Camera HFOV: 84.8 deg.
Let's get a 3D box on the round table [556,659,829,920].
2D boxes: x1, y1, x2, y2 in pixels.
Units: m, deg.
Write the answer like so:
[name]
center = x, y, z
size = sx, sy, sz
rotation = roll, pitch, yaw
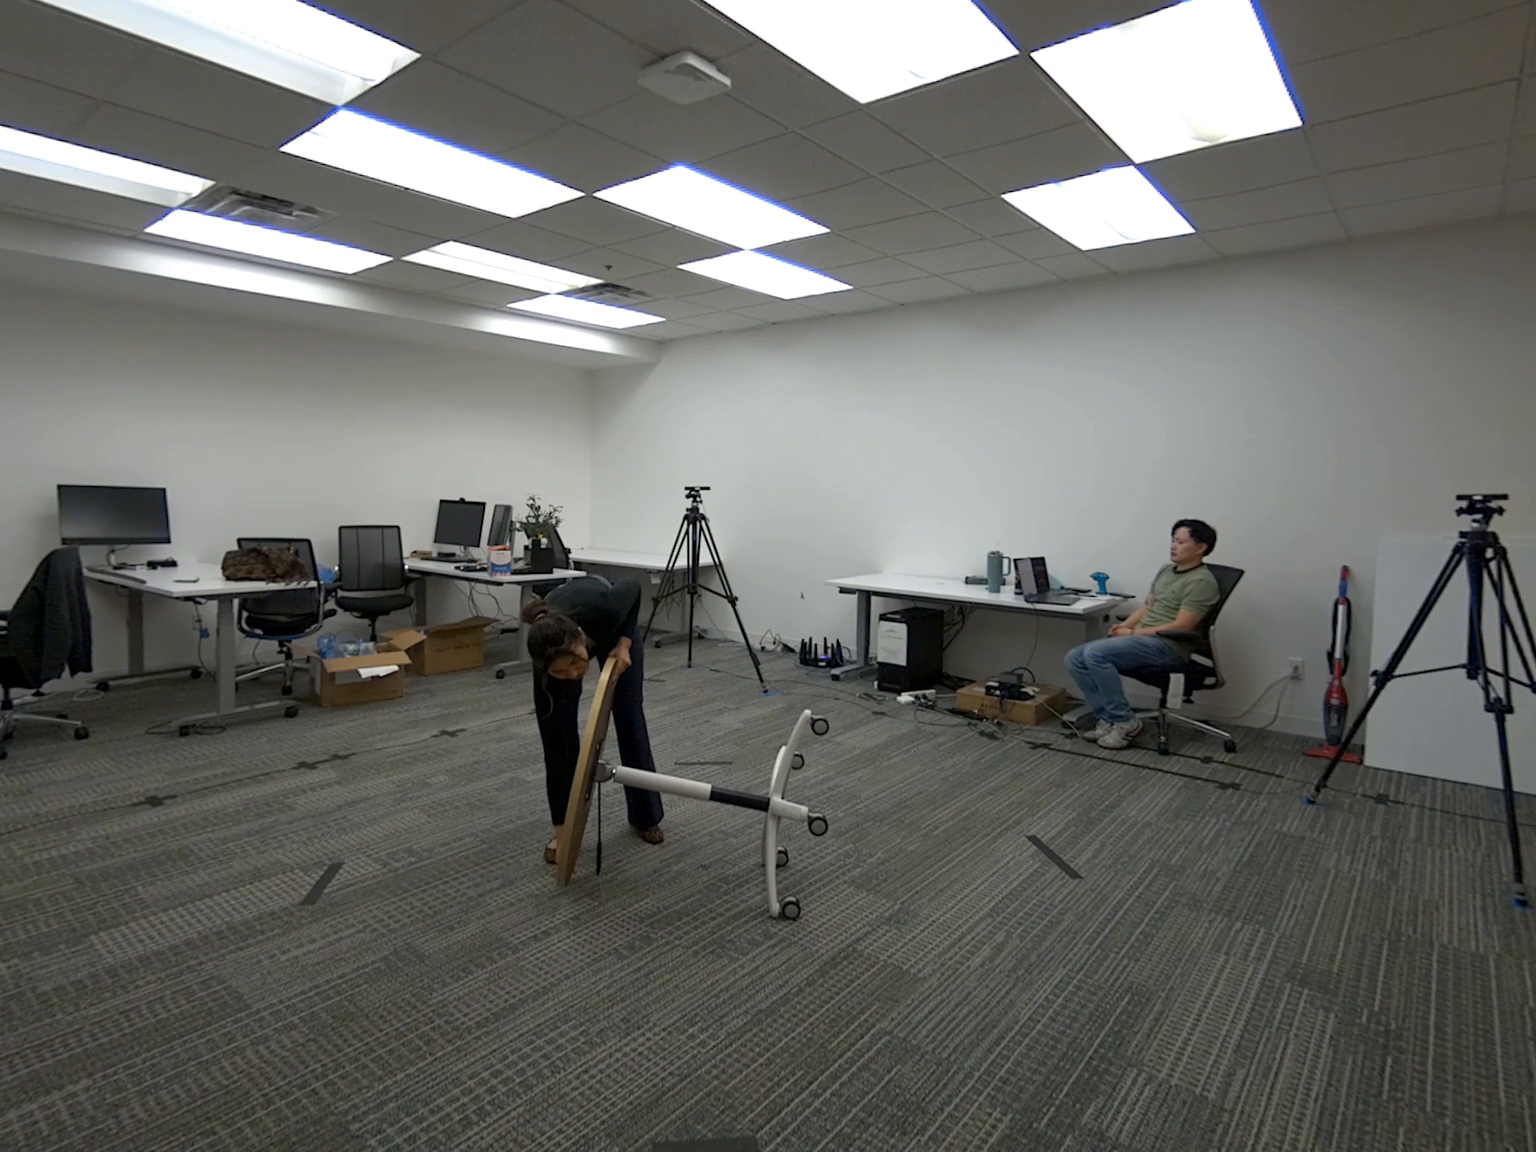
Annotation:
[round table]
center = -0.255, 0.737, 2.936
size = 0.791, 0.762, 0.769
rotation = 12, 3, -4
